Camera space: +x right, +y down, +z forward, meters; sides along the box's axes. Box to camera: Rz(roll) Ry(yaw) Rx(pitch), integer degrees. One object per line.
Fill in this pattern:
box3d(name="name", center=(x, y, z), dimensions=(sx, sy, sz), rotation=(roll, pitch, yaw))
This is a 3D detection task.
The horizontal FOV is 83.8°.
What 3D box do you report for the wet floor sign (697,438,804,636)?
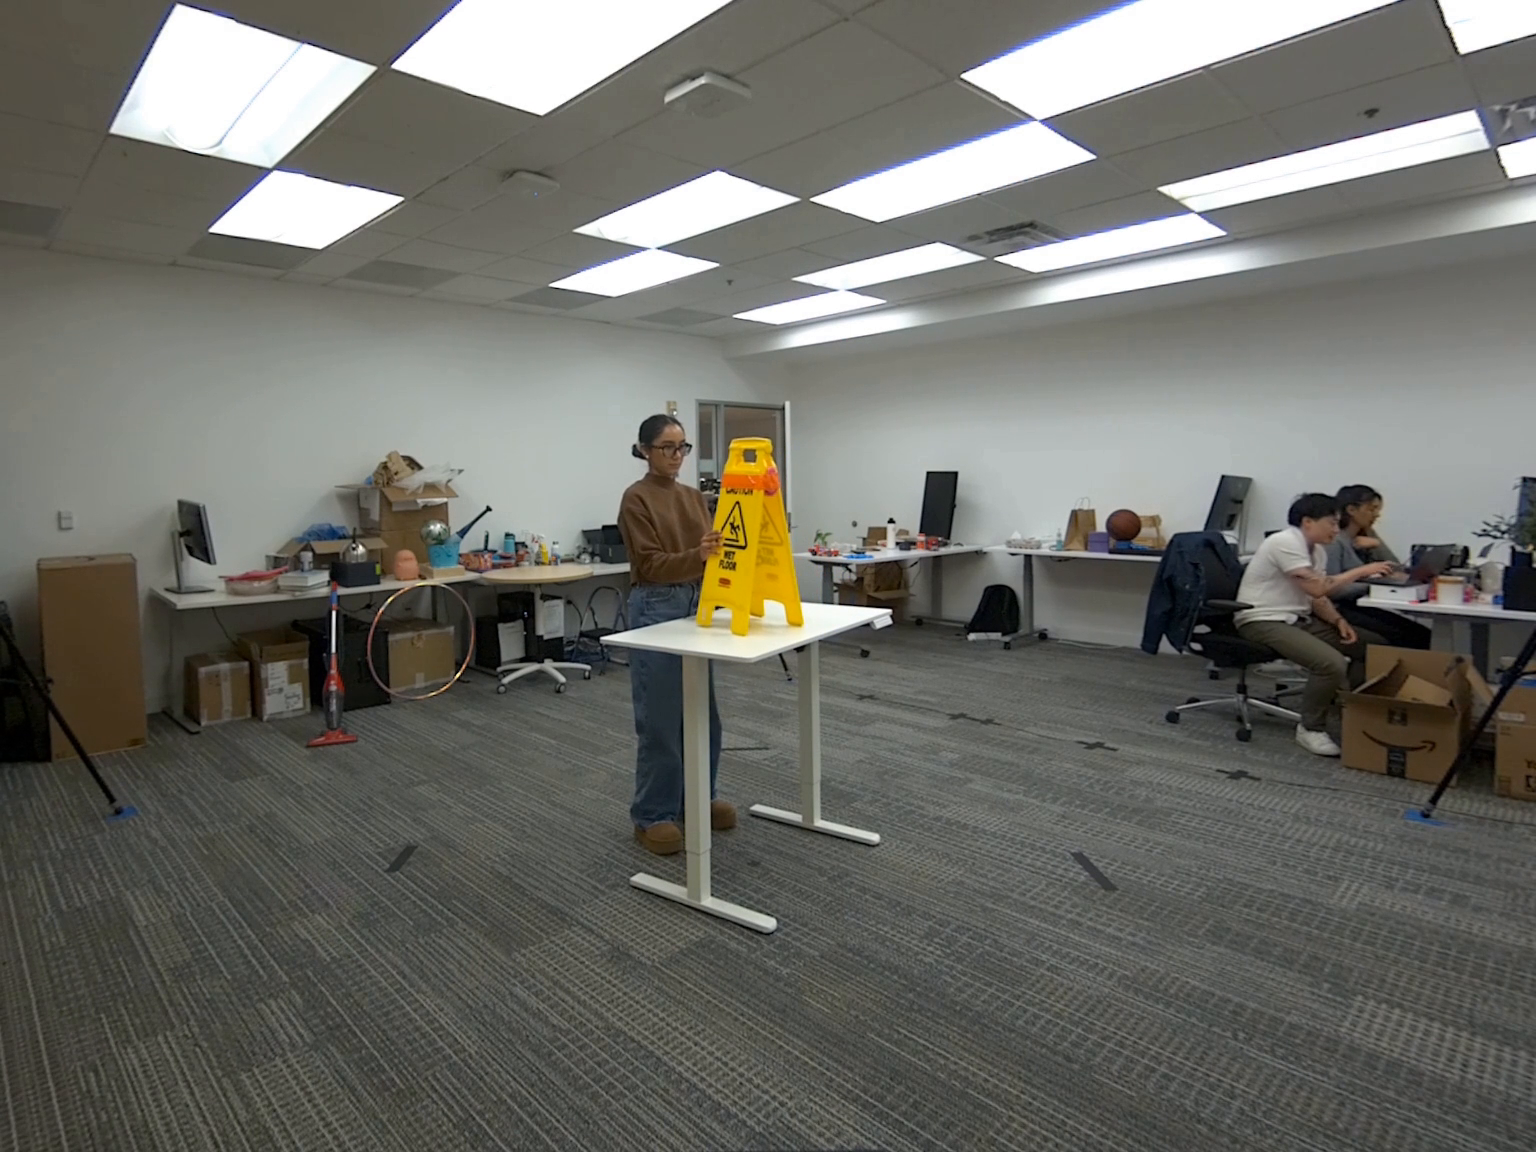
box3d(name="wet floor sign", center=(-0.058, -0.149, 2.962), dimensions=(0.282, 0.643, 0.291), rotation=(-3, 7, -39))
